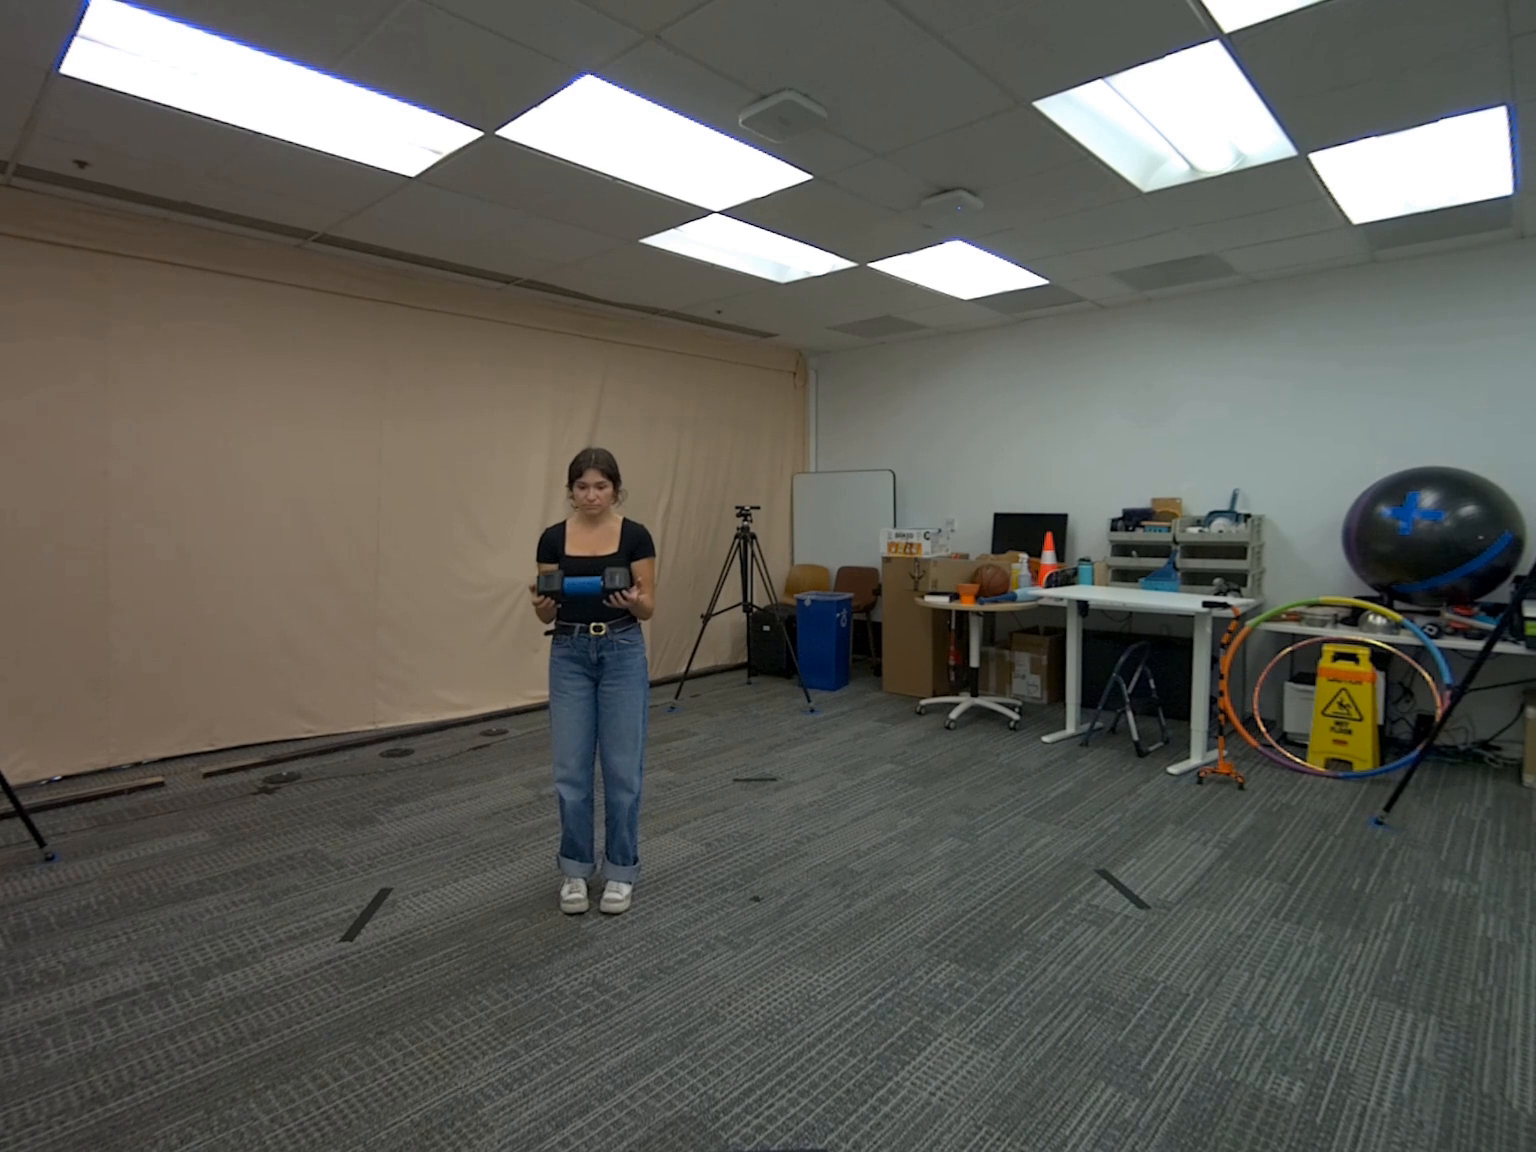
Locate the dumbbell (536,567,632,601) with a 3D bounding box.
[{"bbox_3d":[-0.598,0.038,2.746,0.293,0.120,0.111,-2,44,-1],"label":"dumbbell"}]
